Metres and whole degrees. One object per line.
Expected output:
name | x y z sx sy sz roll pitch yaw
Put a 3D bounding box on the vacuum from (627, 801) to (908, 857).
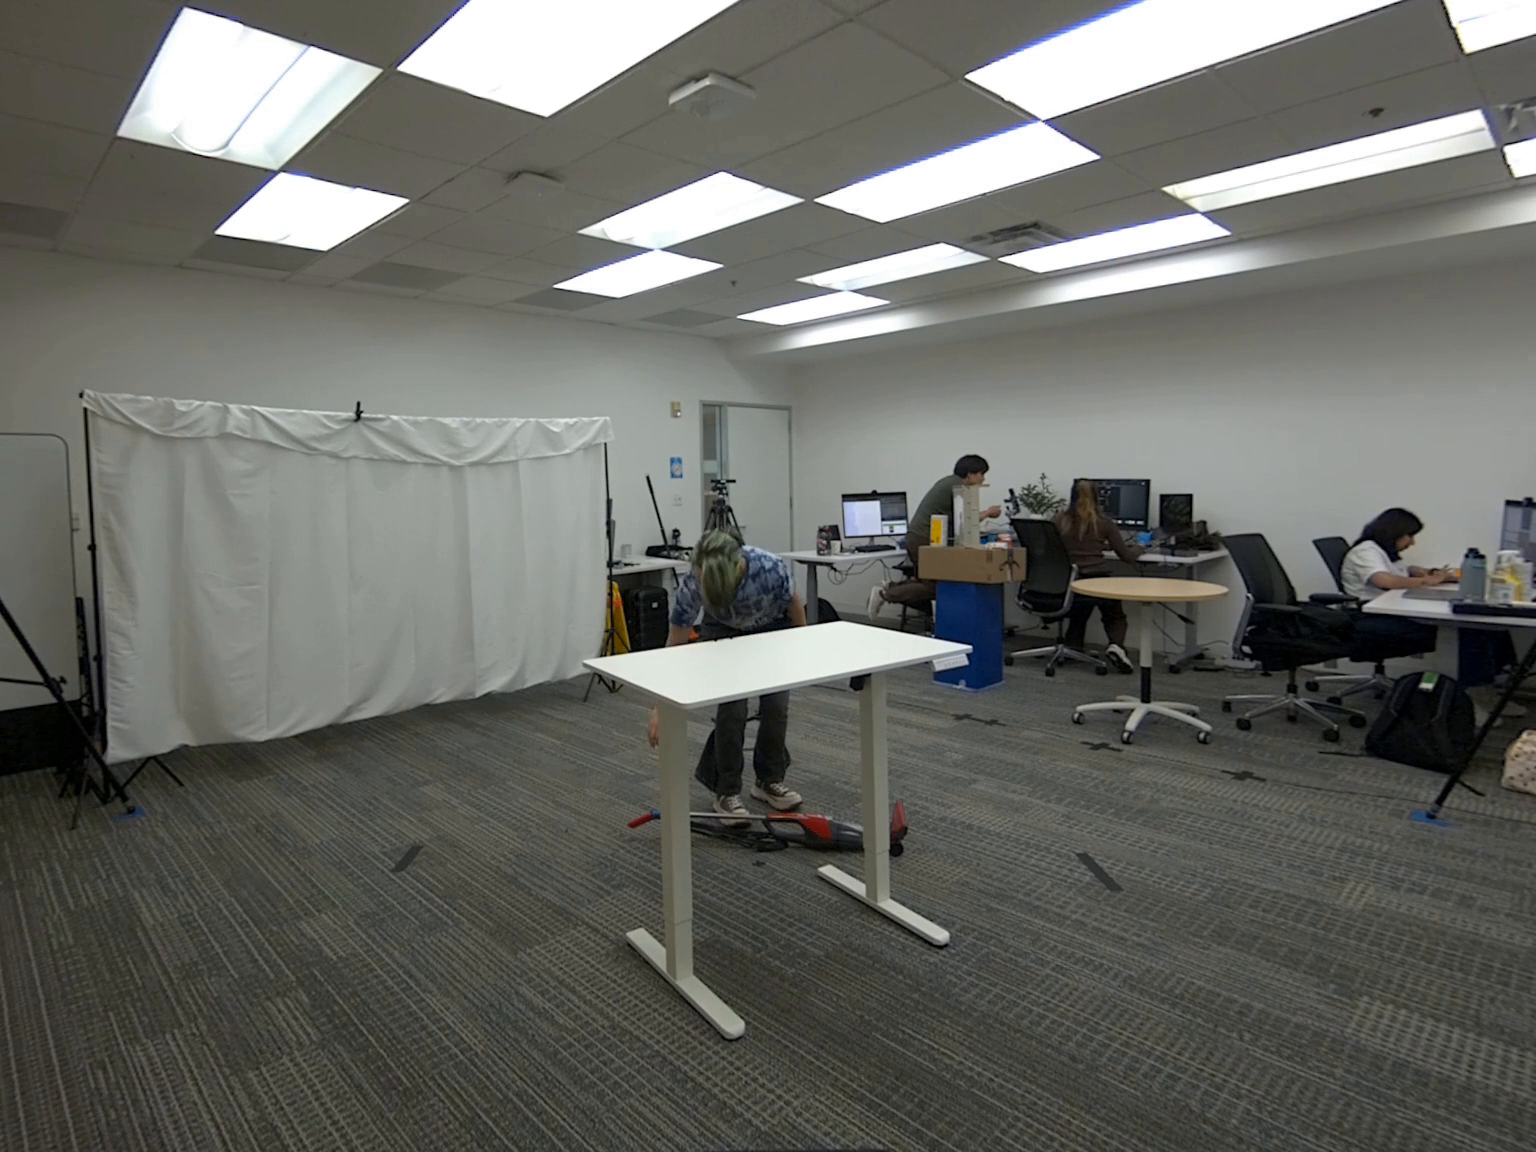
vacuum | -0.017 0.967 3.251 1.055 0.143 0.252 -2 5 5
